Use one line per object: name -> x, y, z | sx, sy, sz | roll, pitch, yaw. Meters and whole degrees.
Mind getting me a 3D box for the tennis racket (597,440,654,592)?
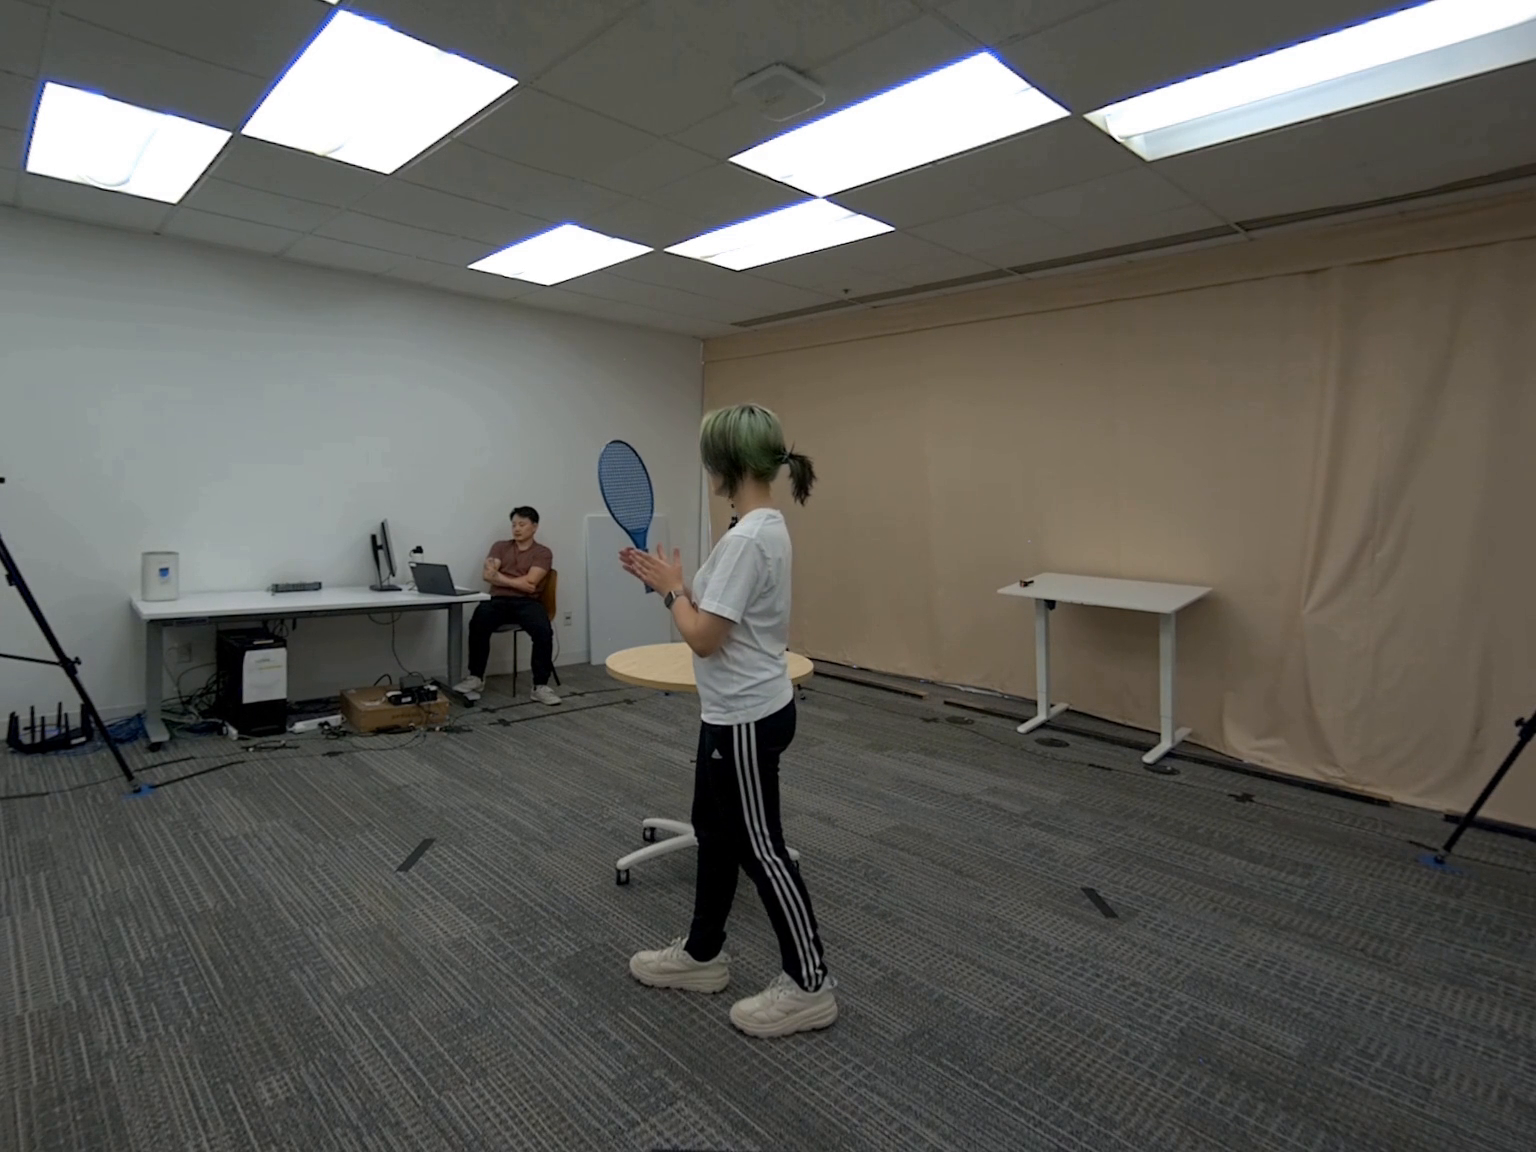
tennis racket -> -0.364, -0.164, 2.322 | 0.032, 0.432, 0.210 | -11, 2, 29
